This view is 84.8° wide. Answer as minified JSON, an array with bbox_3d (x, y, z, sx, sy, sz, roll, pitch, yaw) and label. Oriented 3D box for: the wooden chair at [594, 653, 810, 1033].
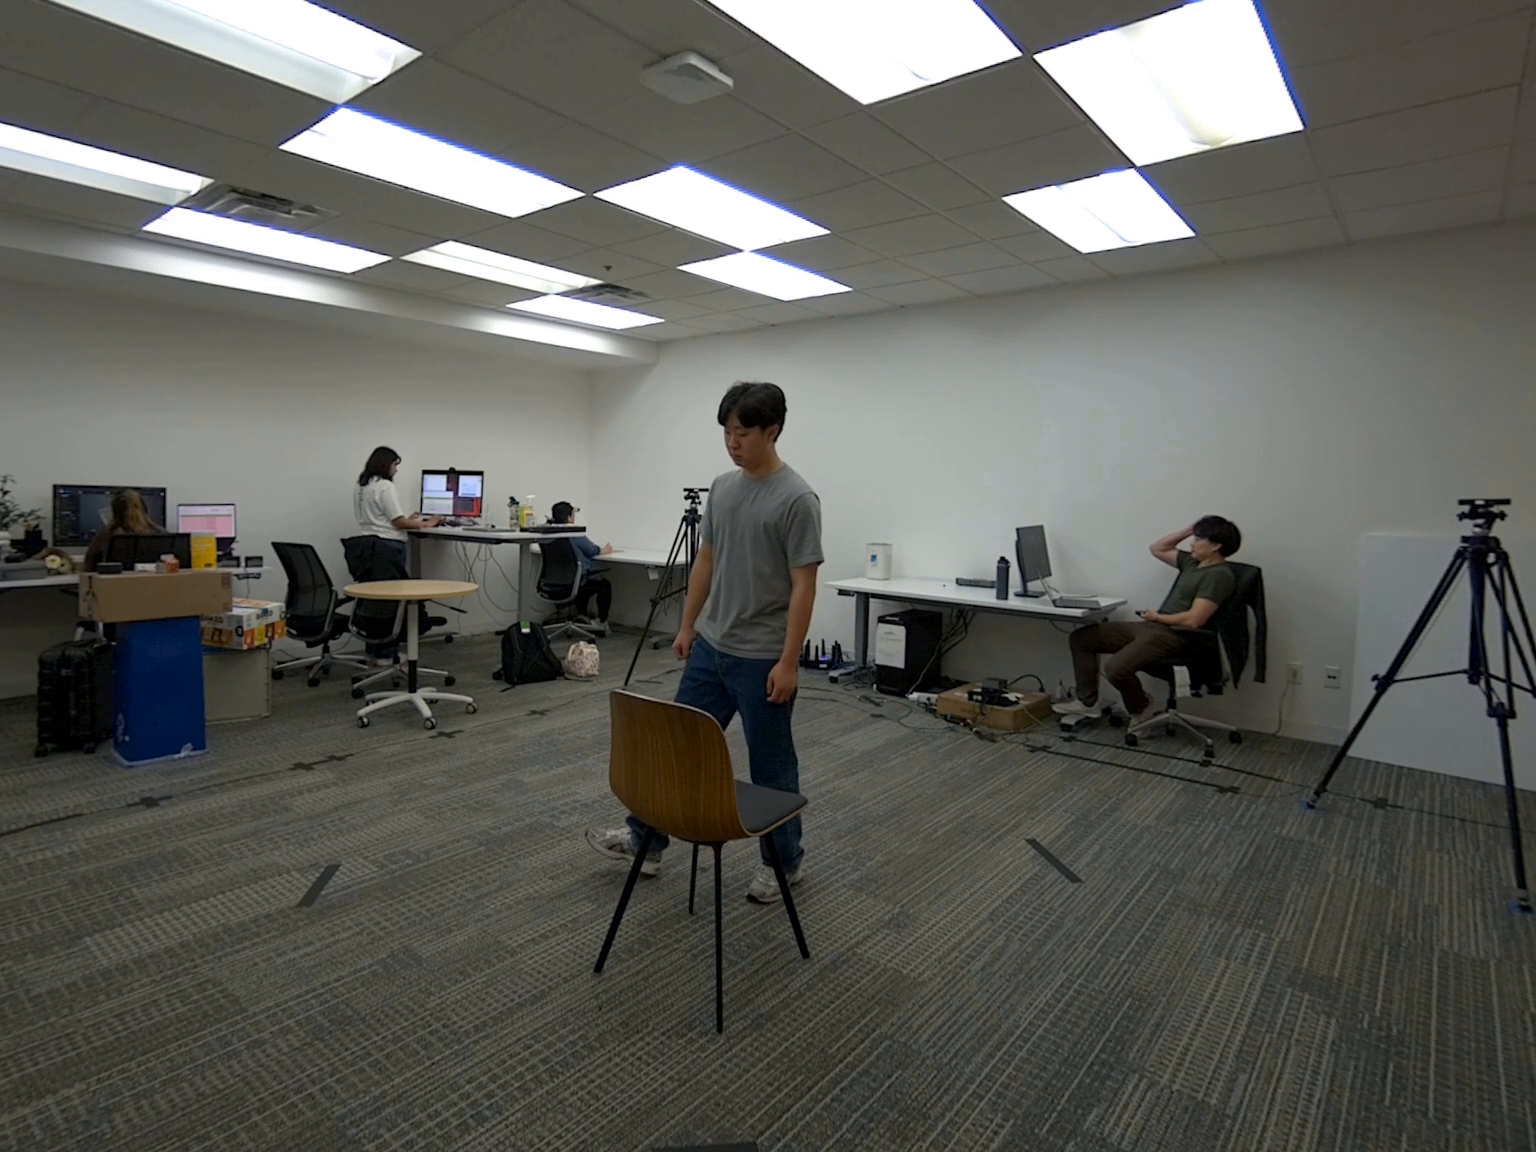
[{"bbox_3d":[-0.187,0.704,2.464,0.493,0.872,0.510,3,8,34],"label":"wooden chair"}]
